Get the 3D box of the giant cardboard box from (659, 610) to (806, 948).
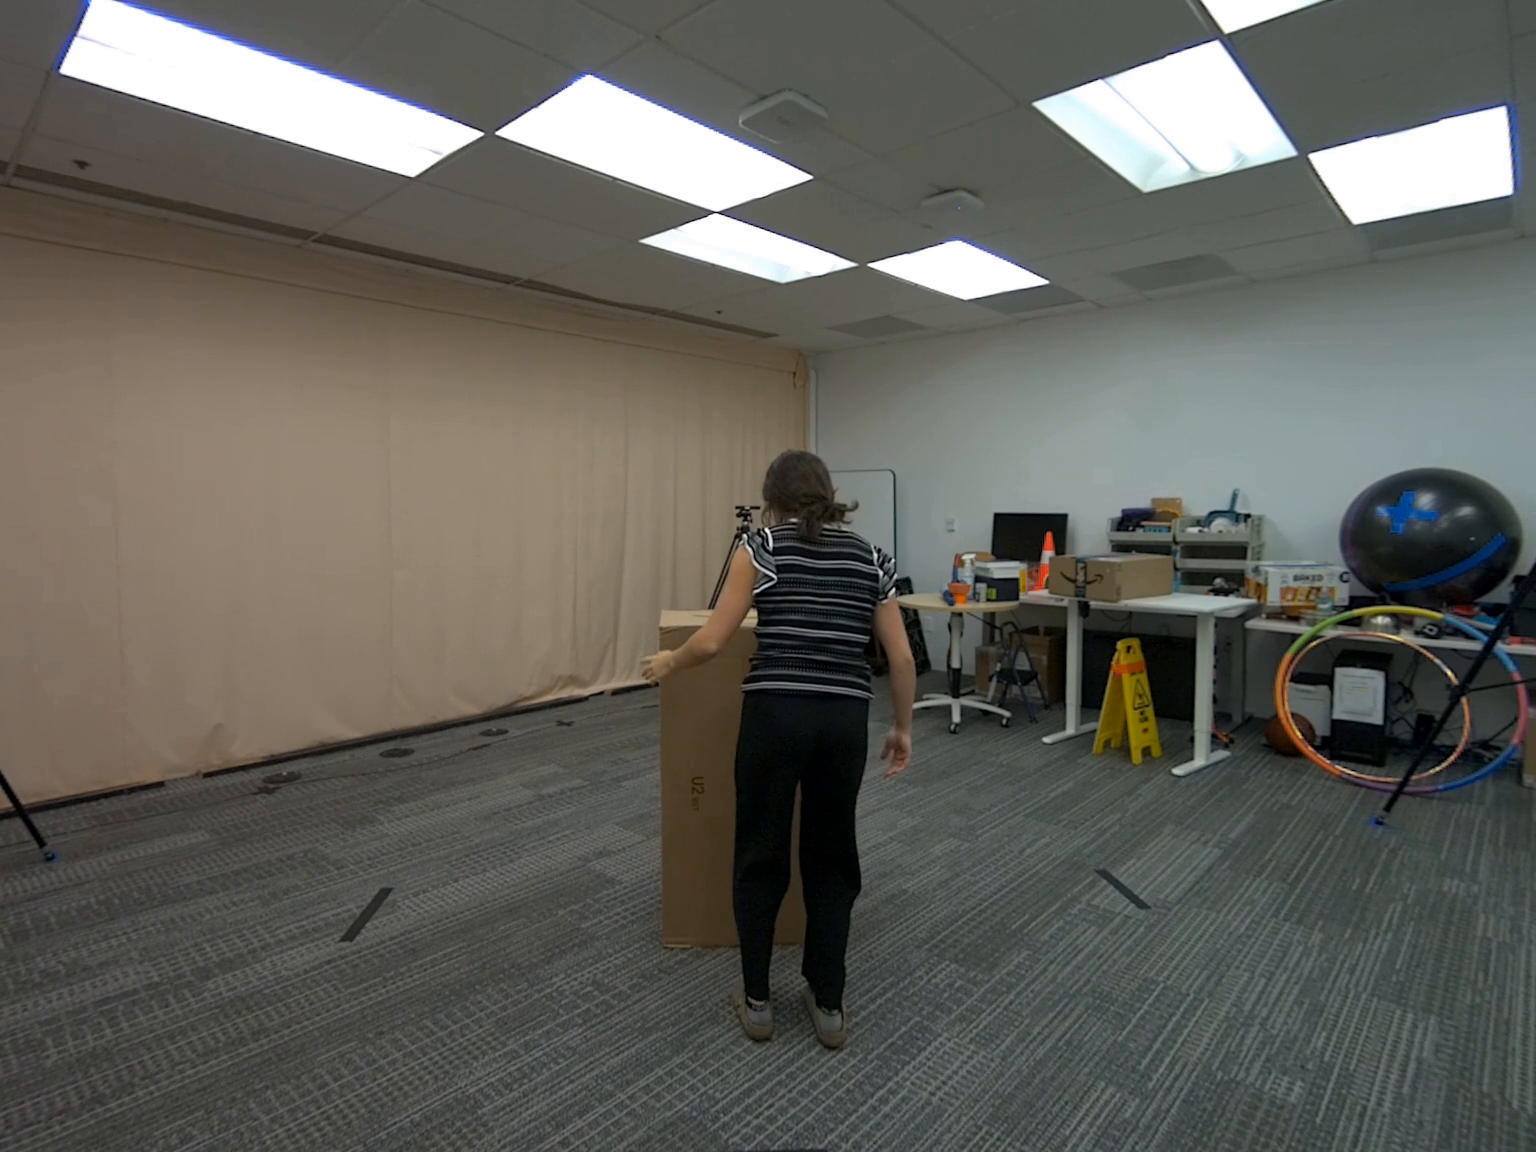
[{"bbox_3d":[-0.076,0.648,2.851,0.575,1.024,0.428,0,3,-4],"label":"giant cardboard box"}]
